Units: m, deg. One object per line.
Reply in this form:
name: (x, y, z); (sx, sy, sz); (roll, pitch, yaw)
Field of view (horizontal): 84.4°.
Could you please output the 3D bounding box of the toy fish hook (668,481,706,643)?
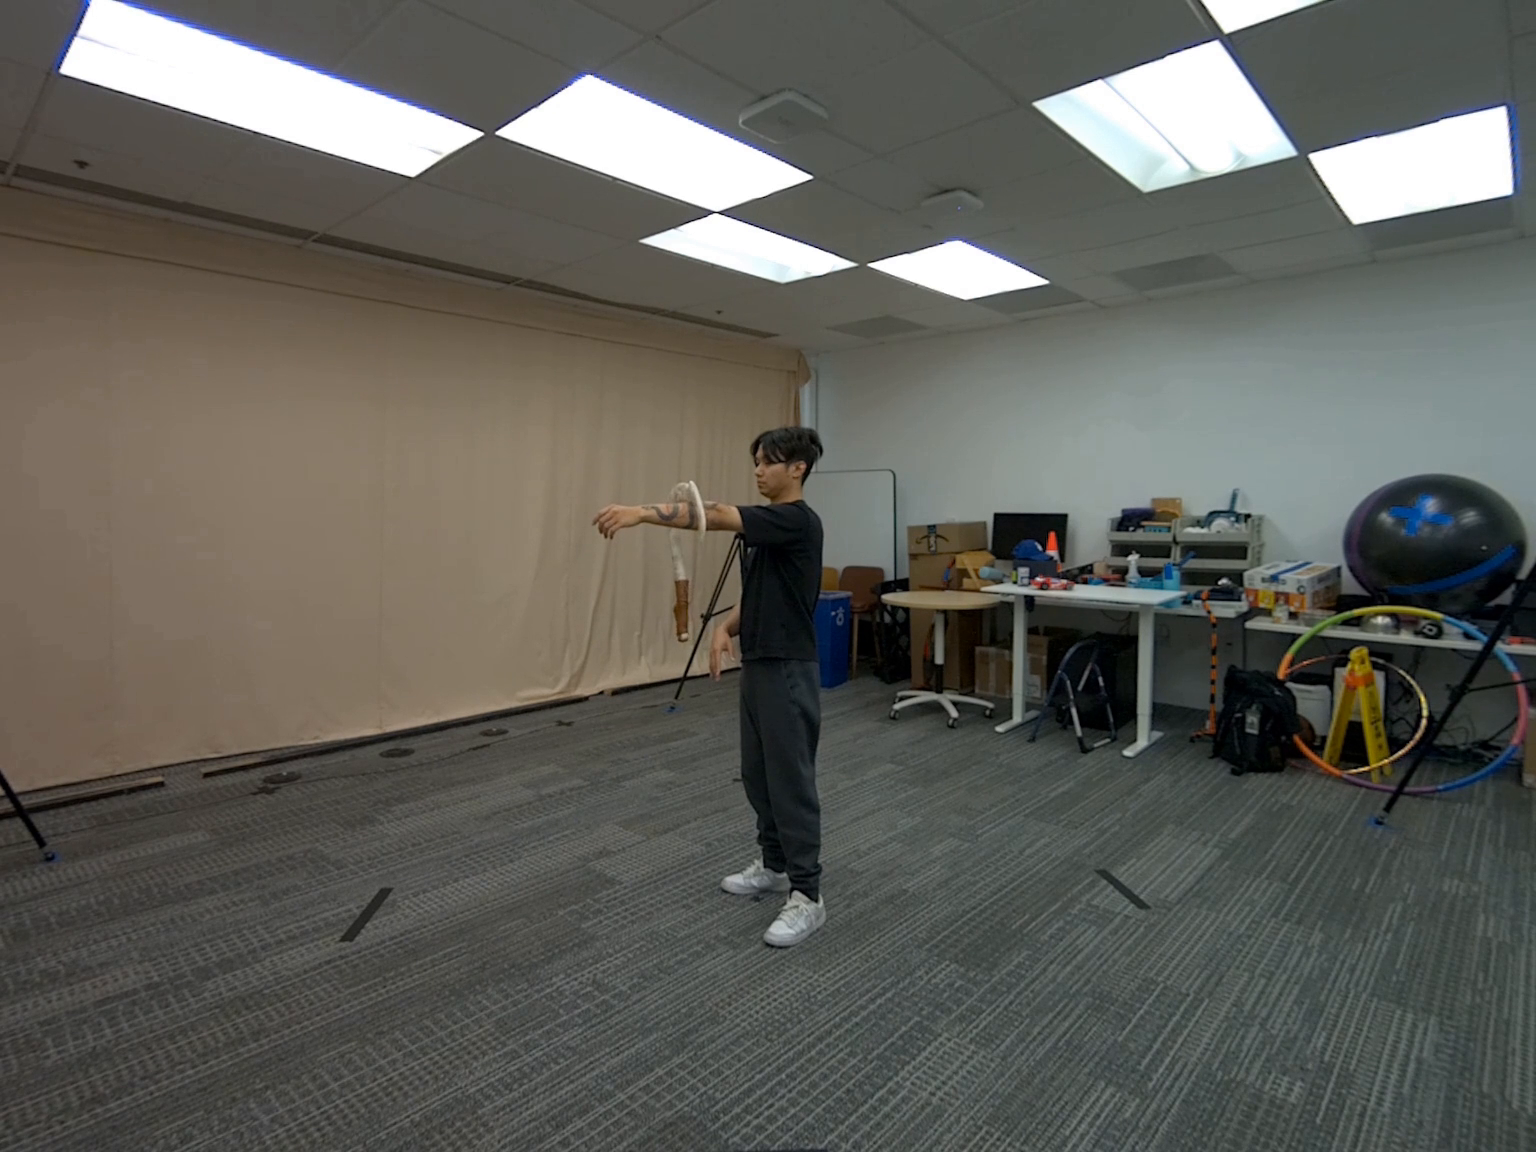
toy fish hook: (-0.246, -0.035, 2.644); (0.047, 0.507, 0.230); (-3, 0, -29)
